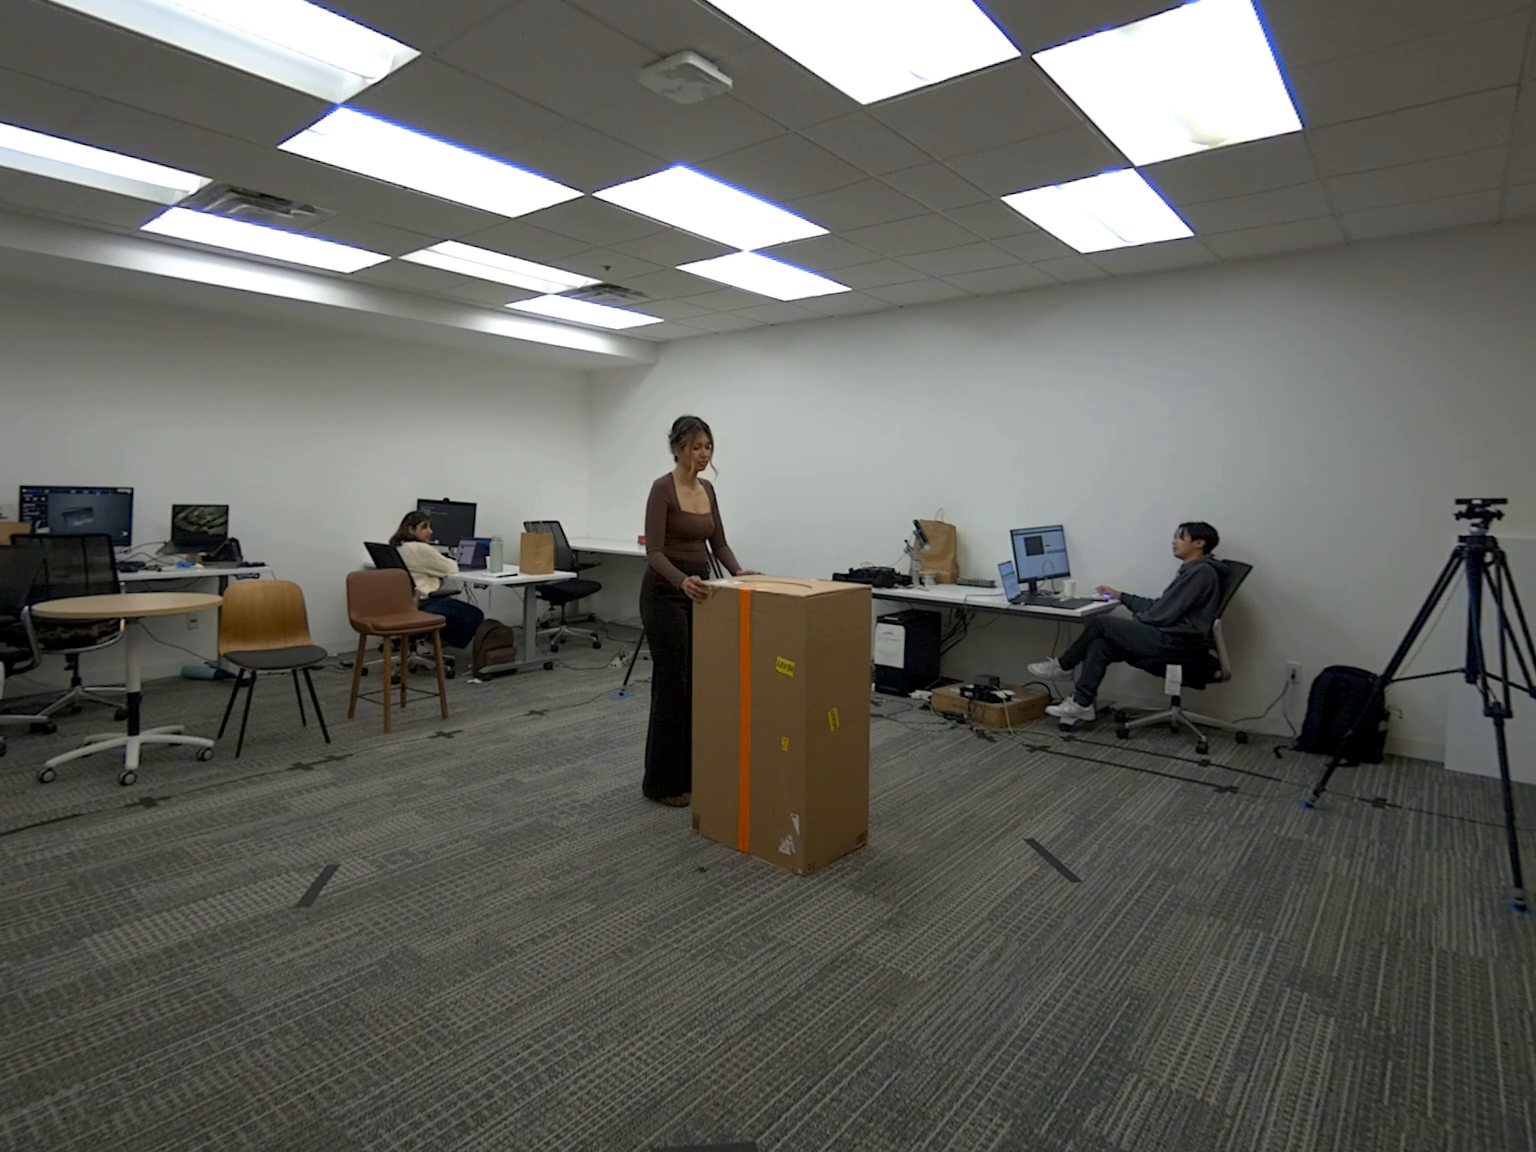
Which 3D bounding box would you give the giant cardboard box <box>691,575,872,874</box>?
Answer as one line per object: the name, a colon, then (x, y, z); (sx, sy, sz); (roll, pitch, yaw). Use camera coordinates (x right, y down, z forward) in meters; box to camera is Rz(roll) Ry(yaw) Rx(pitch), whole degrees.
giant cardboard box: (0.040, 0.536, 3.374); (0.603, 1.023, 0.434); (3, 6, 43)
